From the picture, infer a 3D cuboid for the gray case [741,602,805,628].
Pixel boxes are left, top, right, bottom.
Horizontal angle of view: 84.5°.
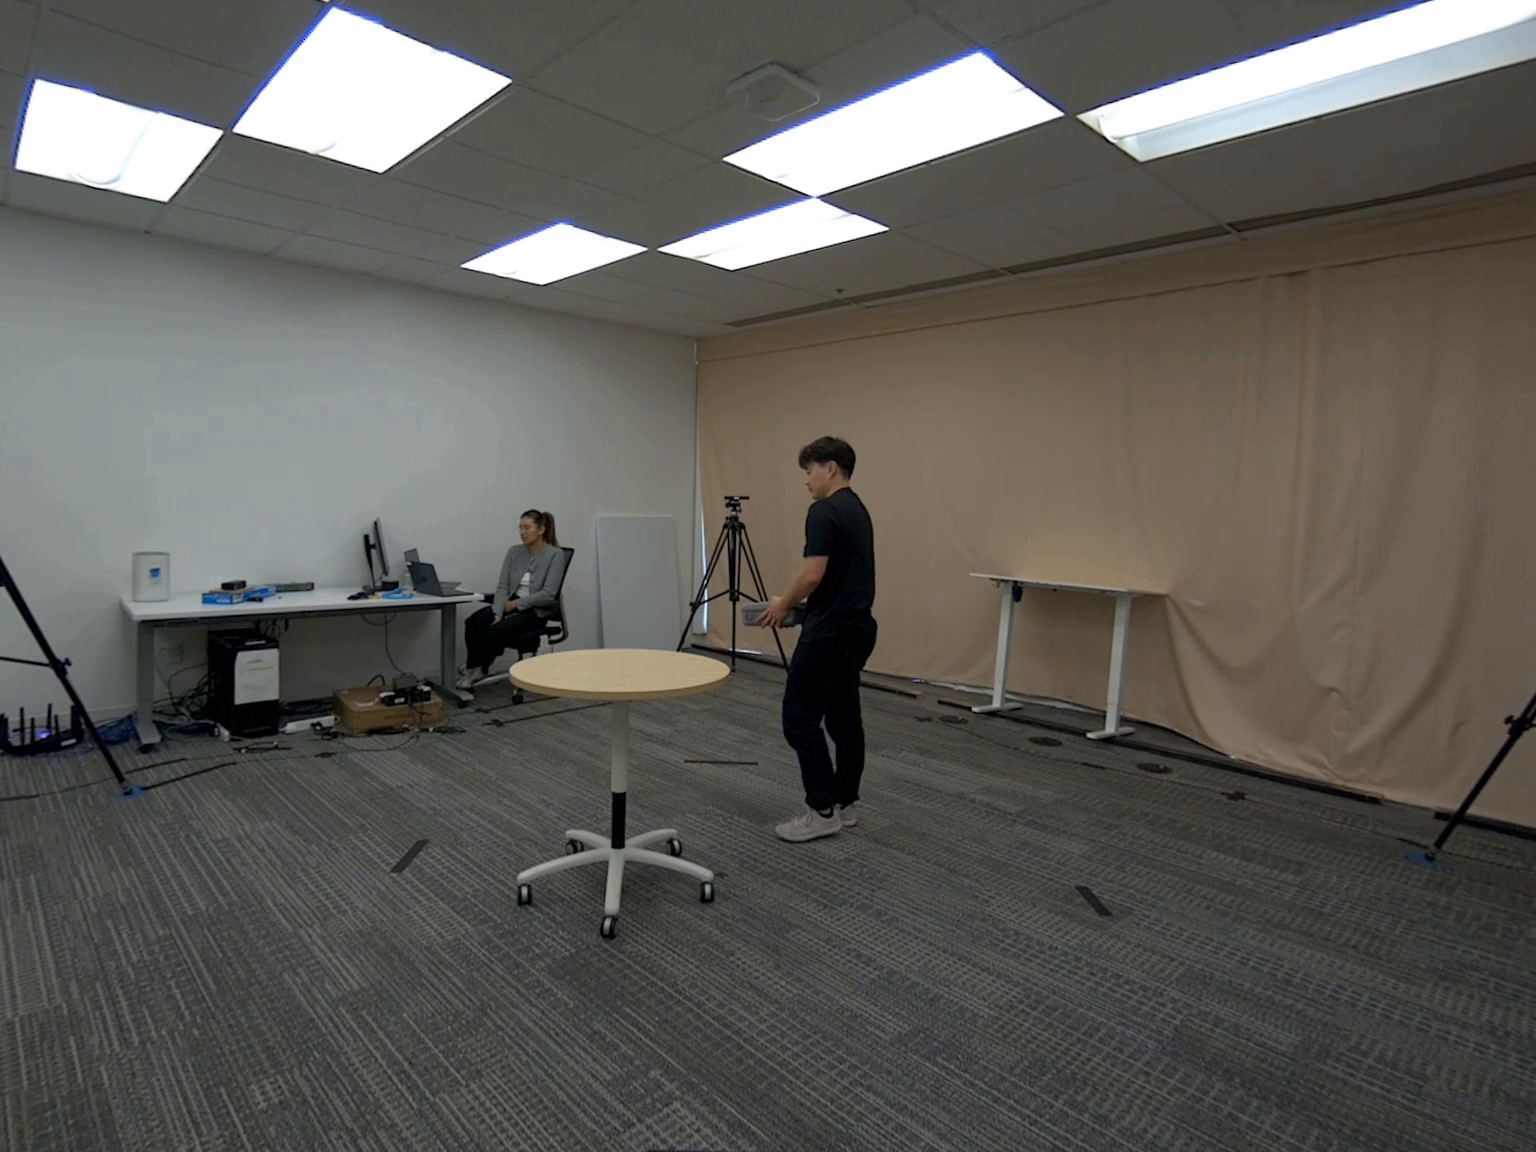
[{"bbox_3d":[0.032,0.164,3.757,0.264,0.104,0.252,-3,-2,21],"label":"gray case"}]
